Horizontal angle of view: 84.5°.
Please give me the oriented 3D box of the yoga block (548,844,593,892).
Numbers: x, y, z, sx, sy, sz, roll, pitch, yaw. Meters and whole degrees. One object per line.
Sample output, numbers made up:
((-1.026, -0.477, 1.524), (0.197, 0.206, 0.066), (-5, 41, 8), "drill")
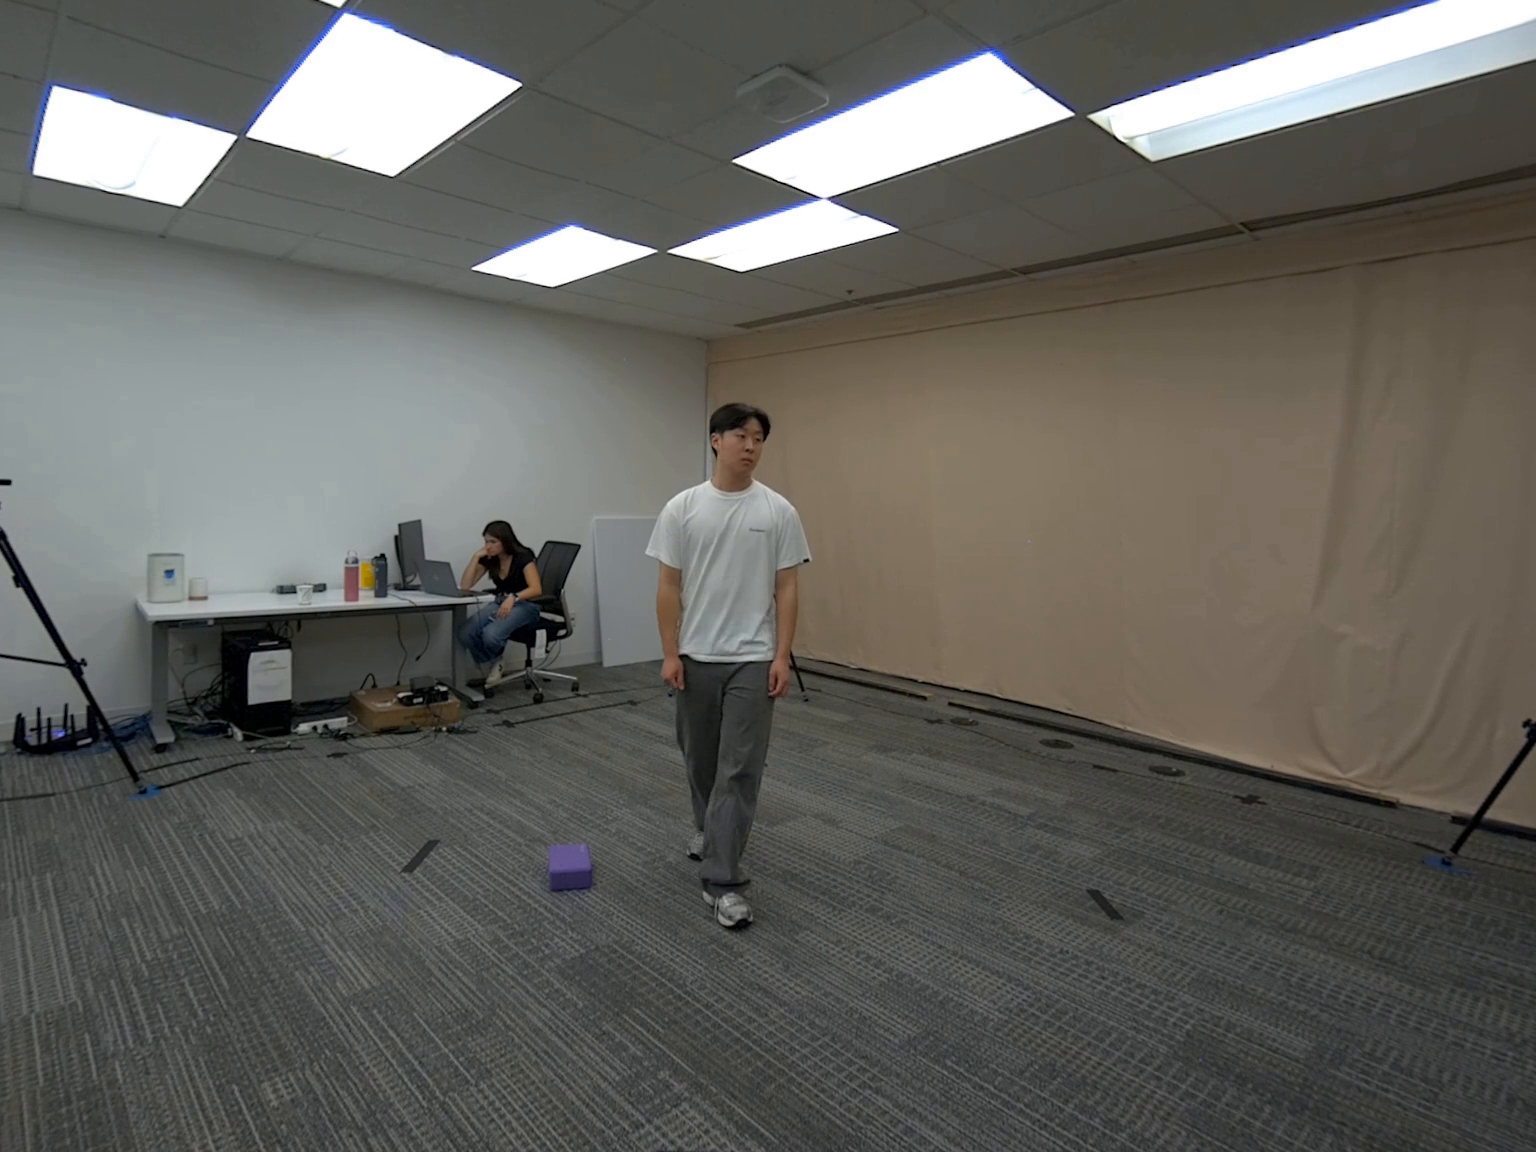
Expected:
((-0.732, 1.061, 3.068), (0.147, 0.076, 0.232), (1, 6, -14), "yoga block")
